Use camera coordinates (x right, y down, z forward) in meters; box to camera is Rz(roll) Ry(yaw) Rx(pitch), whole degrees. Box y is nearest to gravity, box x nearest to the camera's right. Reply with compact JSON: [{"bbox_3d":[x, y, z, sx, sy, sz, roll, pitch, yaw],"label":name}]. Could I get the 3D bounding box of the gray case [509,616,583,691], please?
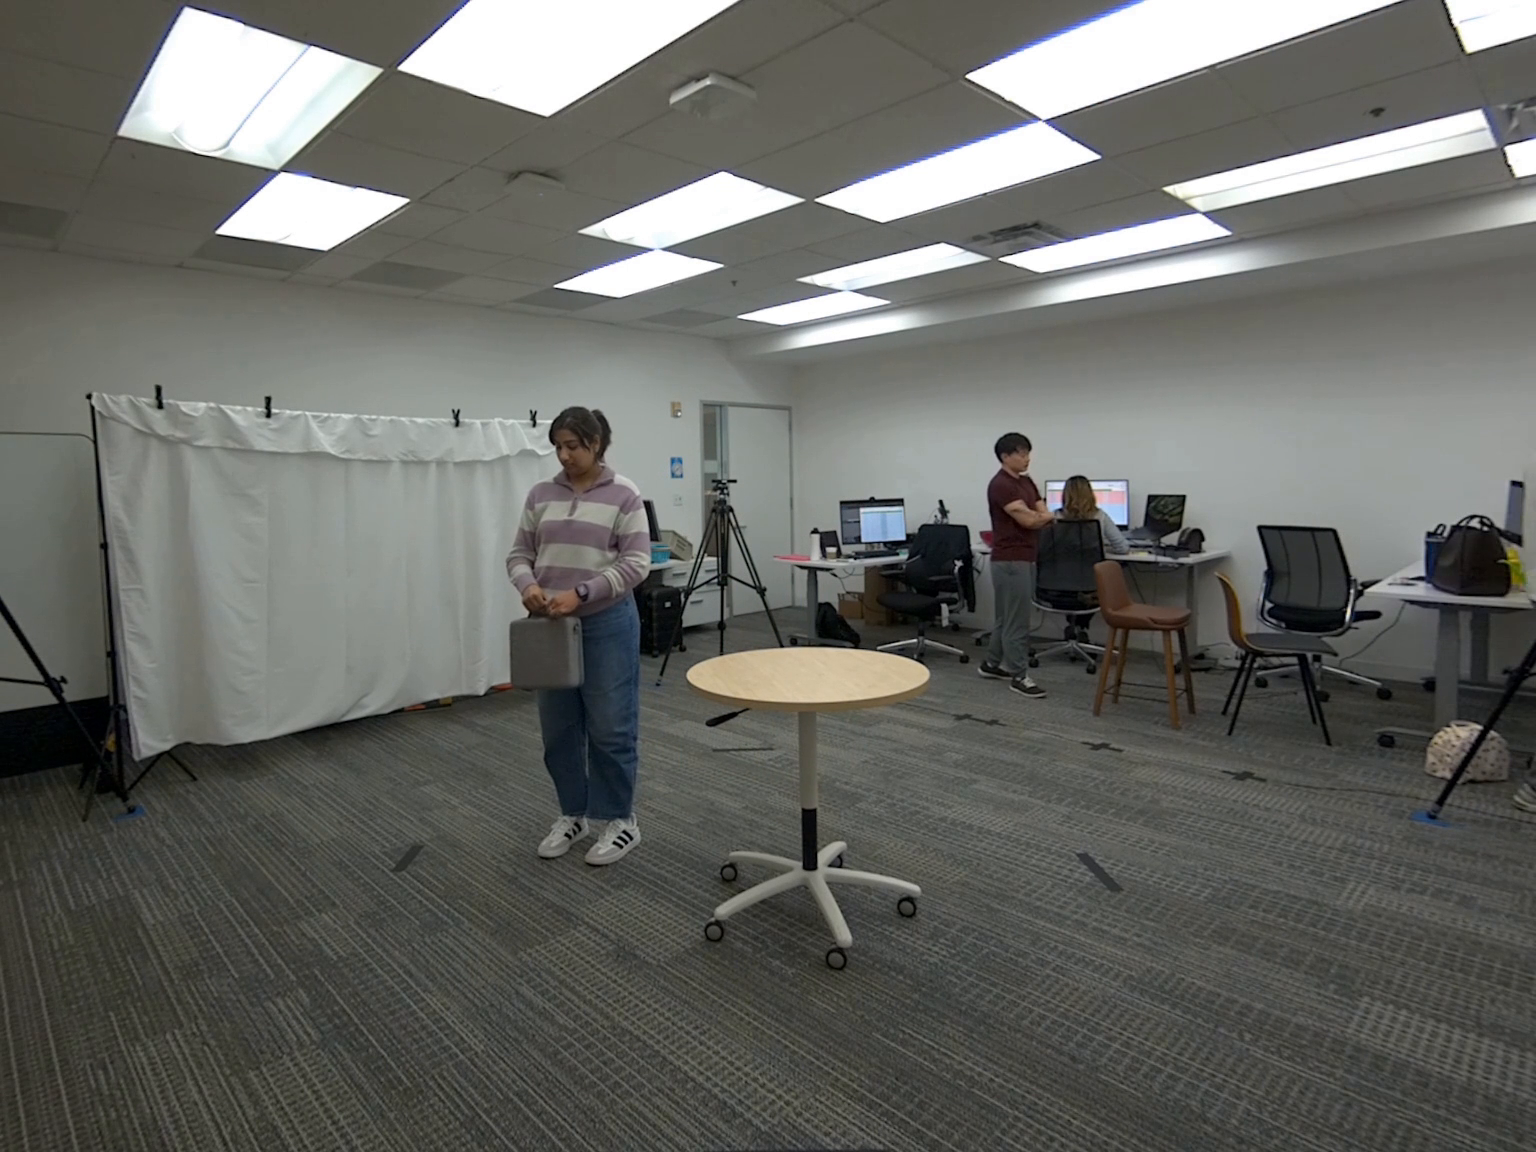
[{"bbox_3d":[-0.789,0.268,3.016,0.261,0.262,0.102,-7,-5,19],"label":"gray case"}]
